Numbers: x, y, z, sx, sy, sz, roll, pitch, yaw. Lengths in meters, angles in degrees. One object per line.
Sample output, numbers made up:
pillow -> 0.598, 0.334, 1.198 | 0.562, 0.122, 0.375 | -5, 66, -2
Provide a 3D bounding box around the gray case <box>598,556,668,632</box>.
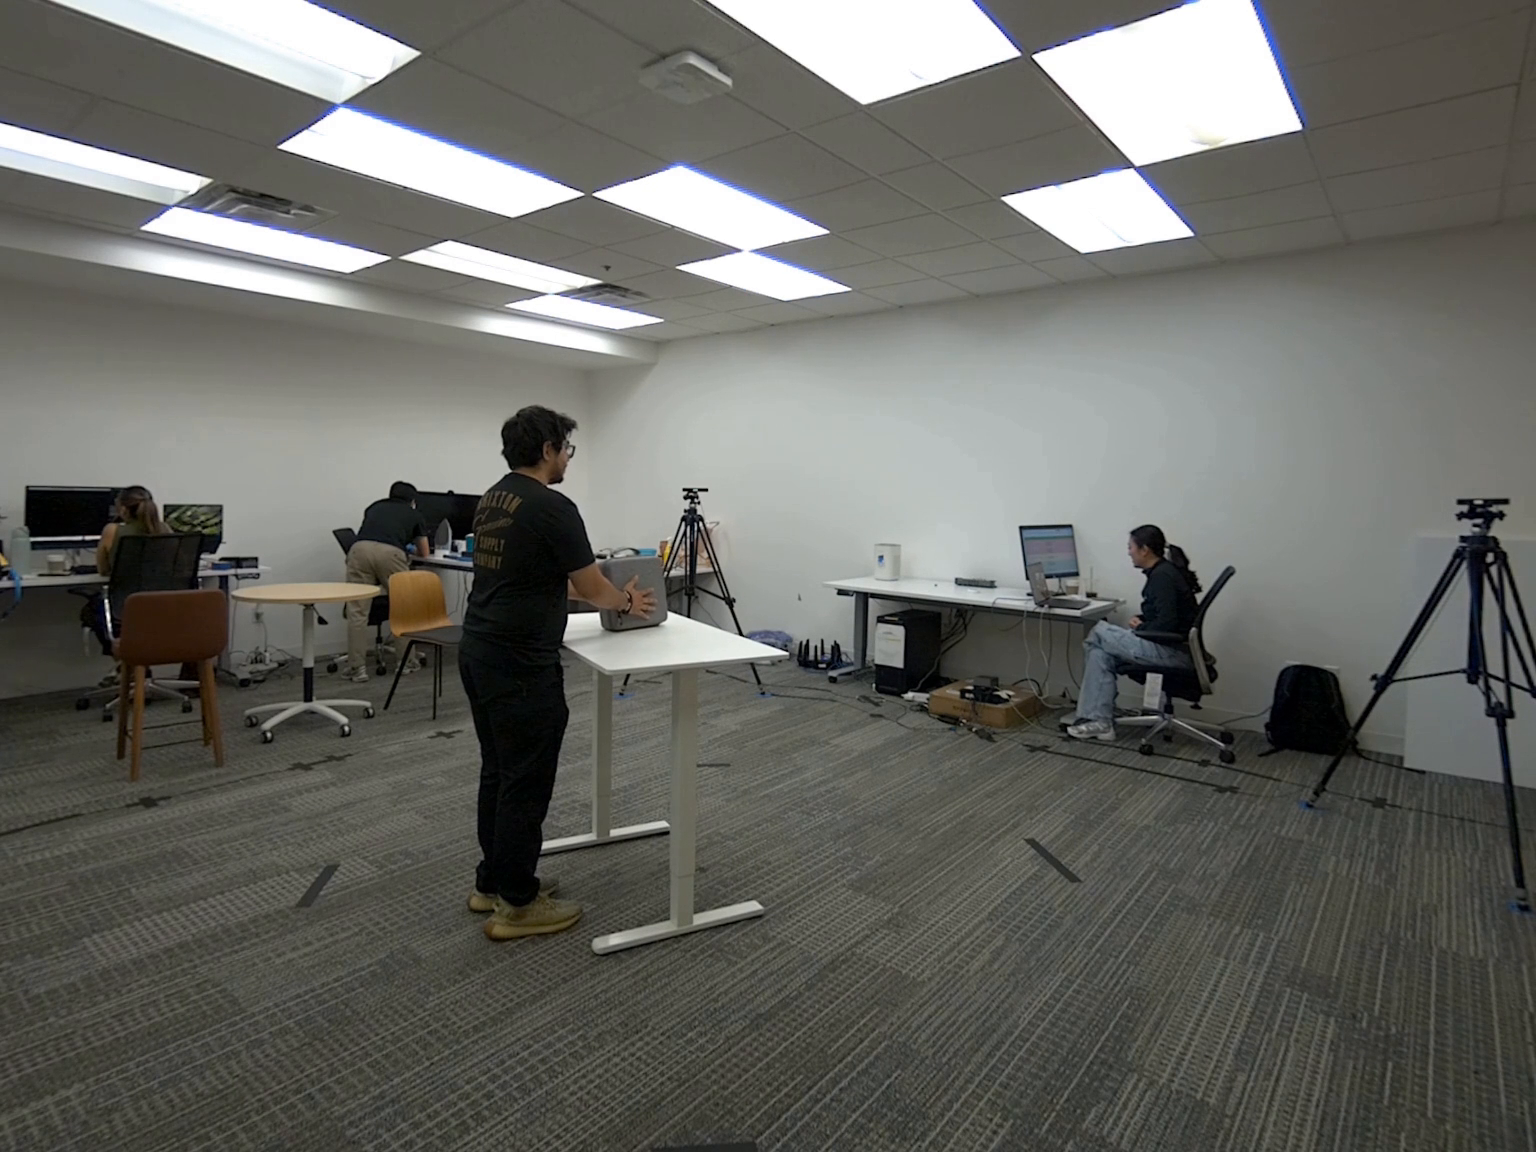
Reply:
gray case -> -0.502, 0.053, 3.072 | 0.249, 0.261, 0.107 | -6, -2, -44
